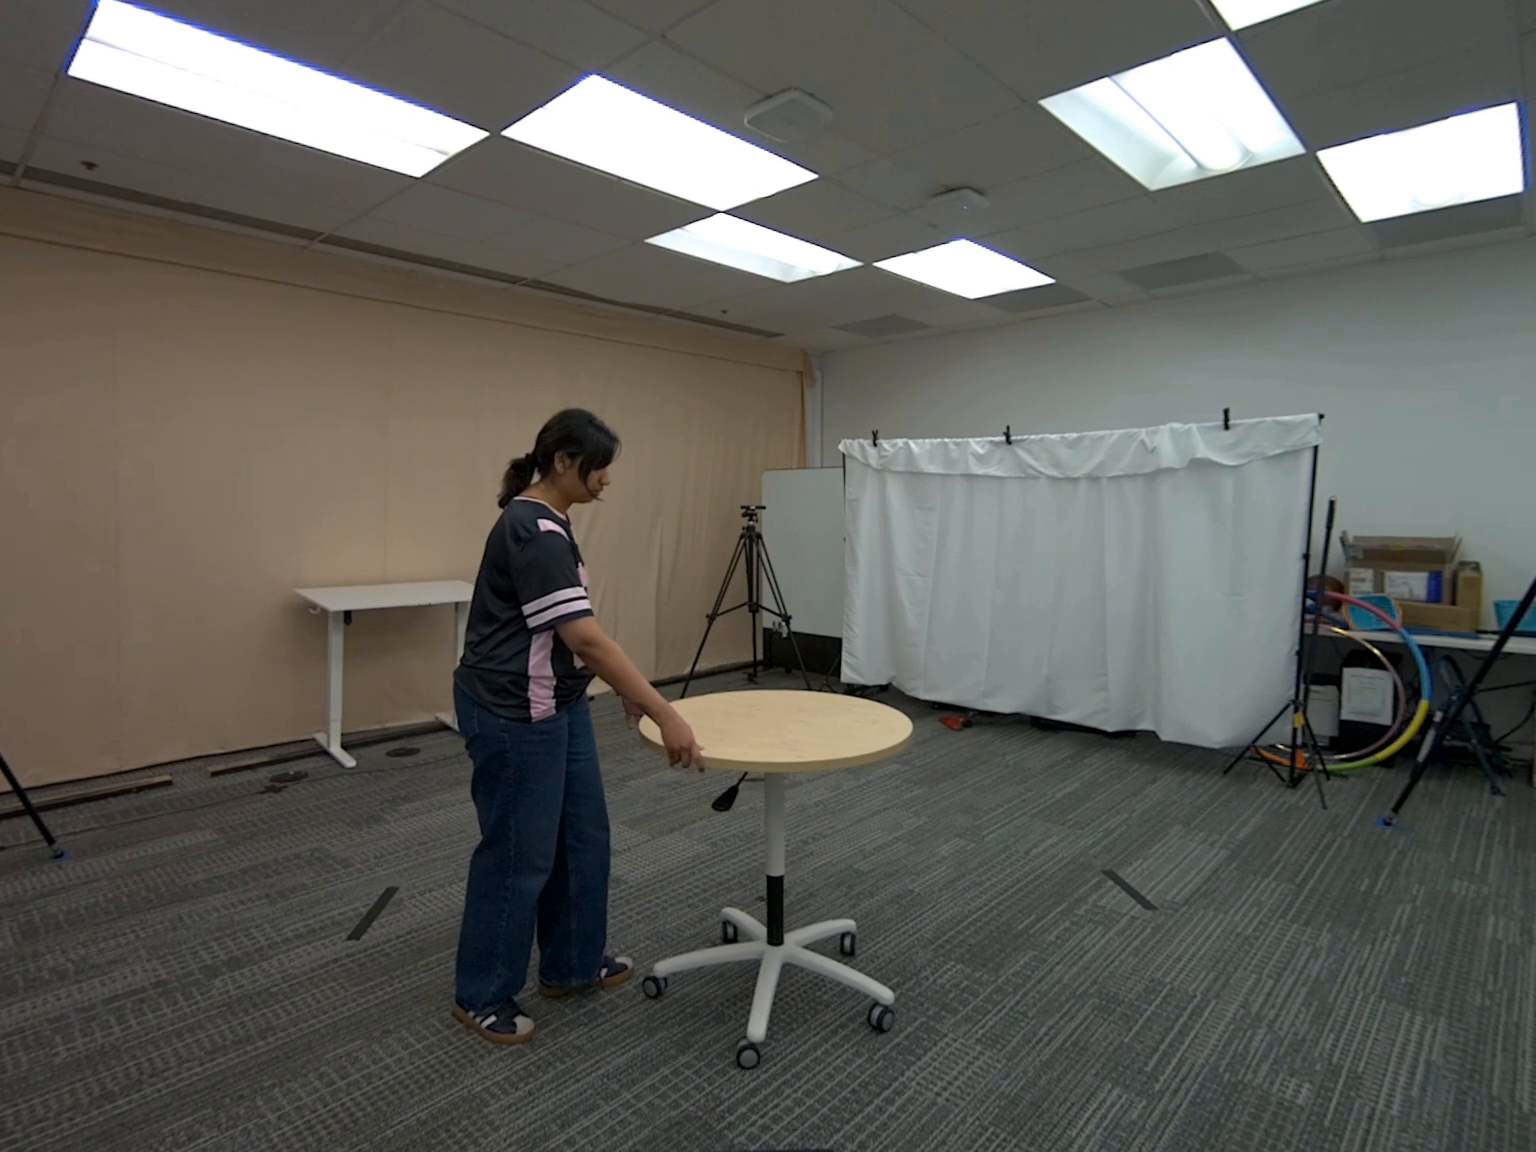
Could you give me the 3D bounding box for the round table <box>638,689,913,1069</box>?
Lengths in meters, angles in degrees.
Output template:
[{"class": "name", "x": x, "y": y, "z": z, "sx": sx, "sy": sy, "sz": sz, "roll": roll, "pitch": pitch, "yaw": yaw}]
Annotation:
[{"class": "round table", "x": 0.037, "y": 0.800, "z": 2.406, "sx": 0.784, "sy": 0.784, "sz": 0.788, "roll": -1, "pitch": 4, "yaw": -2}]
